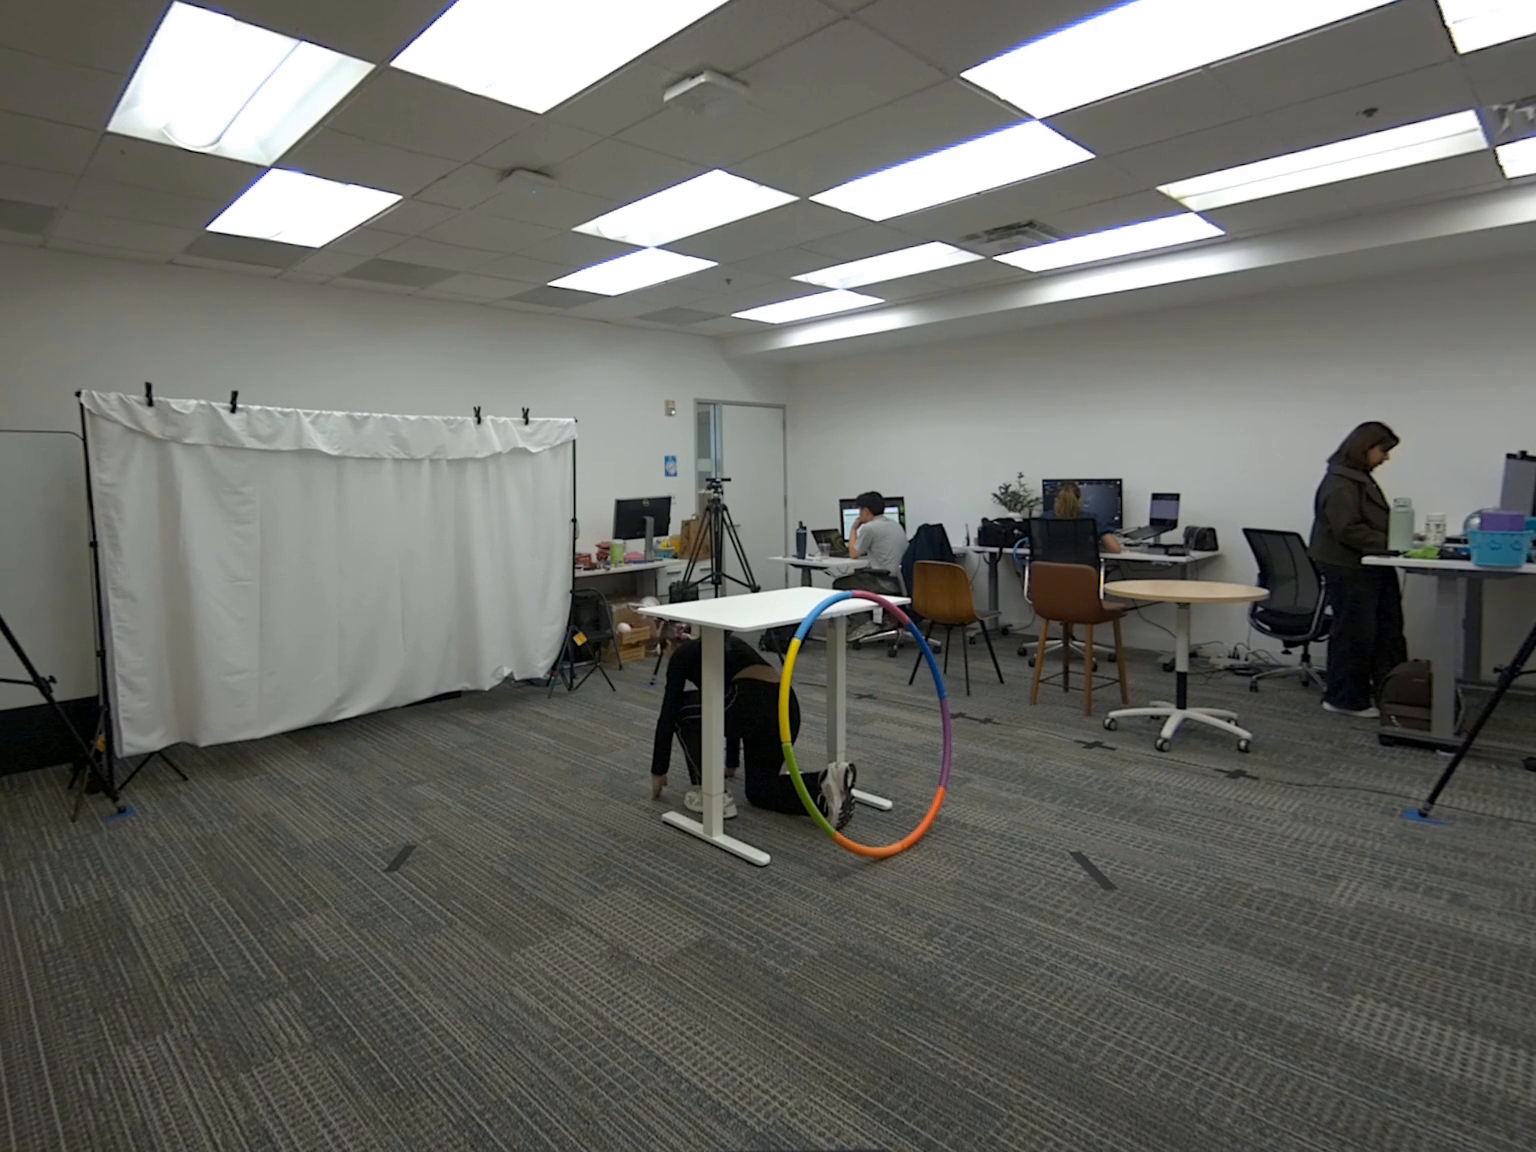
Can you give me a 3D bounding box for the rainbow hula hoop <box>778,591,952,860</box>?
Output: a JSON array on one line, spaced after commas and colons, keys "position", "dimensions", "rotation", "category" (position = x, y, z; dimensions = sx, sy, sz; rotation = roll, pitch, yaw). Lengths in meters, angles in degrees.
[{"position": [0.398, 0.544, 3.242], "dimensions": [0.953, 0.987, 0.036], "rotation": [-6, -10, -44], "category": "rainbow hula hoop"}]
